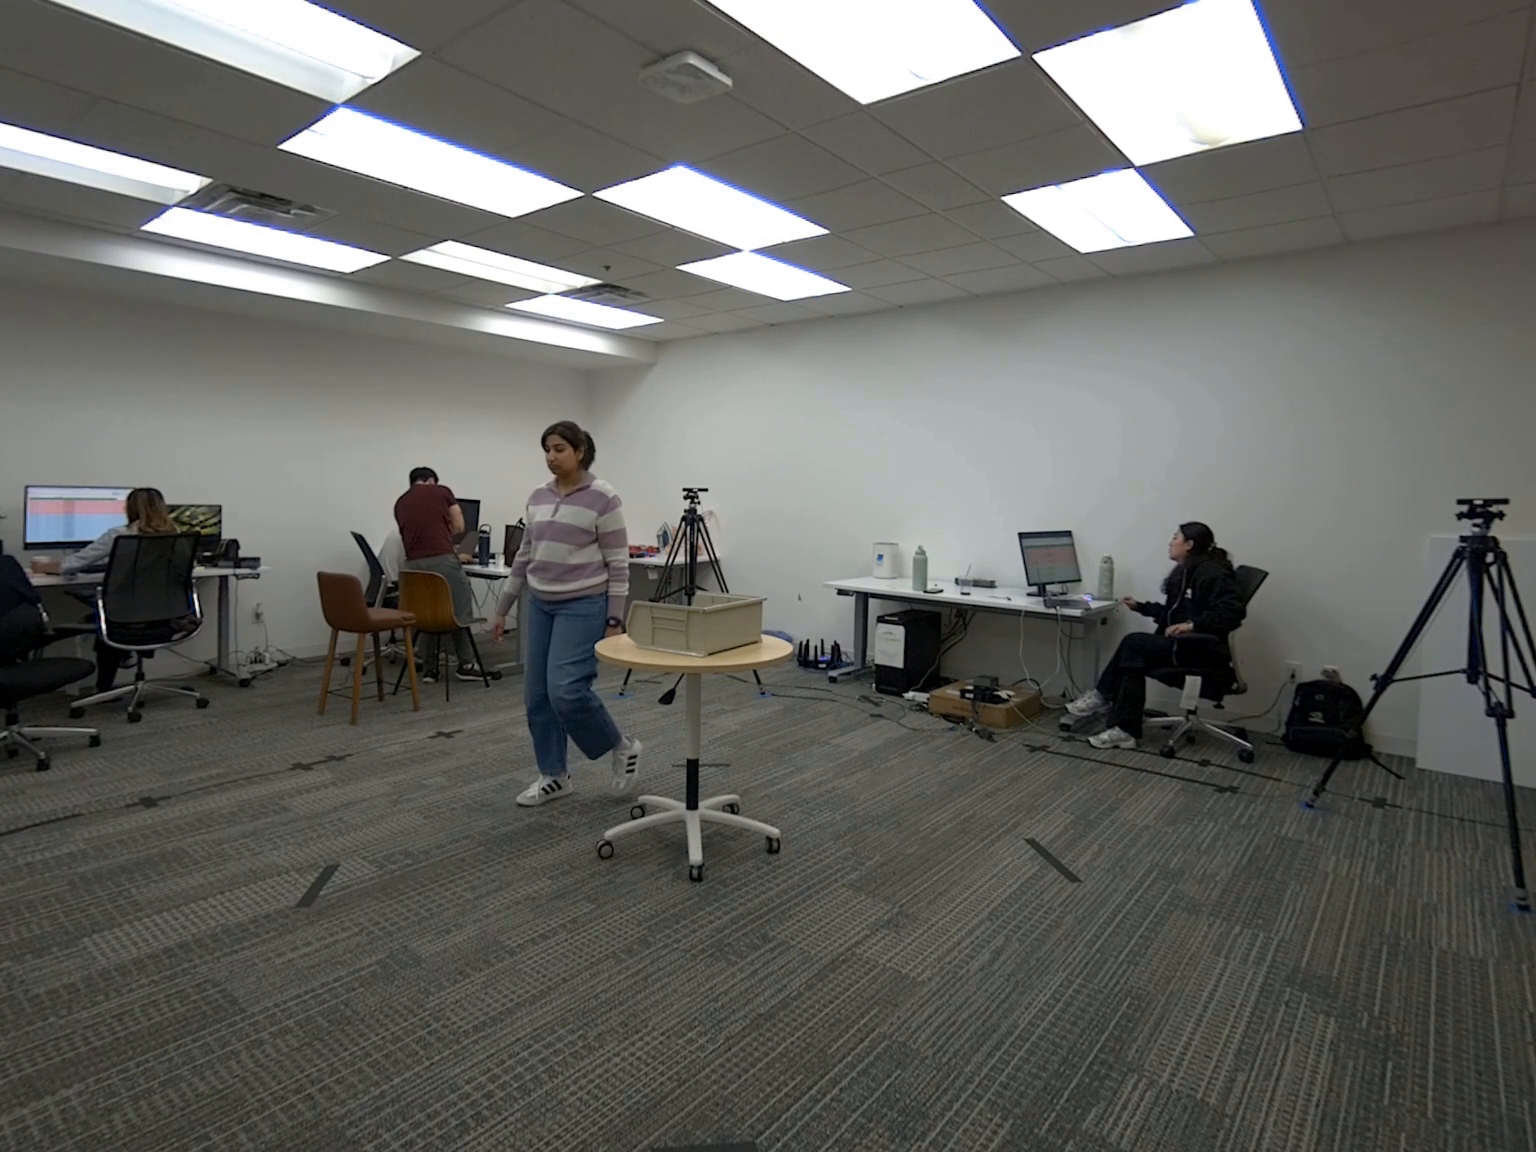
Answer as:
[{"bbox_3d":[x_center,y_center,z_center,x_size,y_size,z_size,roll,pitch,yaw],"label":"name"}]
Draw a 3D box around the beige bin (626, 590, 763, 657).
[{"bbox_3d":[-0.286,0.177,3.312,0.389,0.188,0.411,6,7,32],"label":"beige bin"}]
